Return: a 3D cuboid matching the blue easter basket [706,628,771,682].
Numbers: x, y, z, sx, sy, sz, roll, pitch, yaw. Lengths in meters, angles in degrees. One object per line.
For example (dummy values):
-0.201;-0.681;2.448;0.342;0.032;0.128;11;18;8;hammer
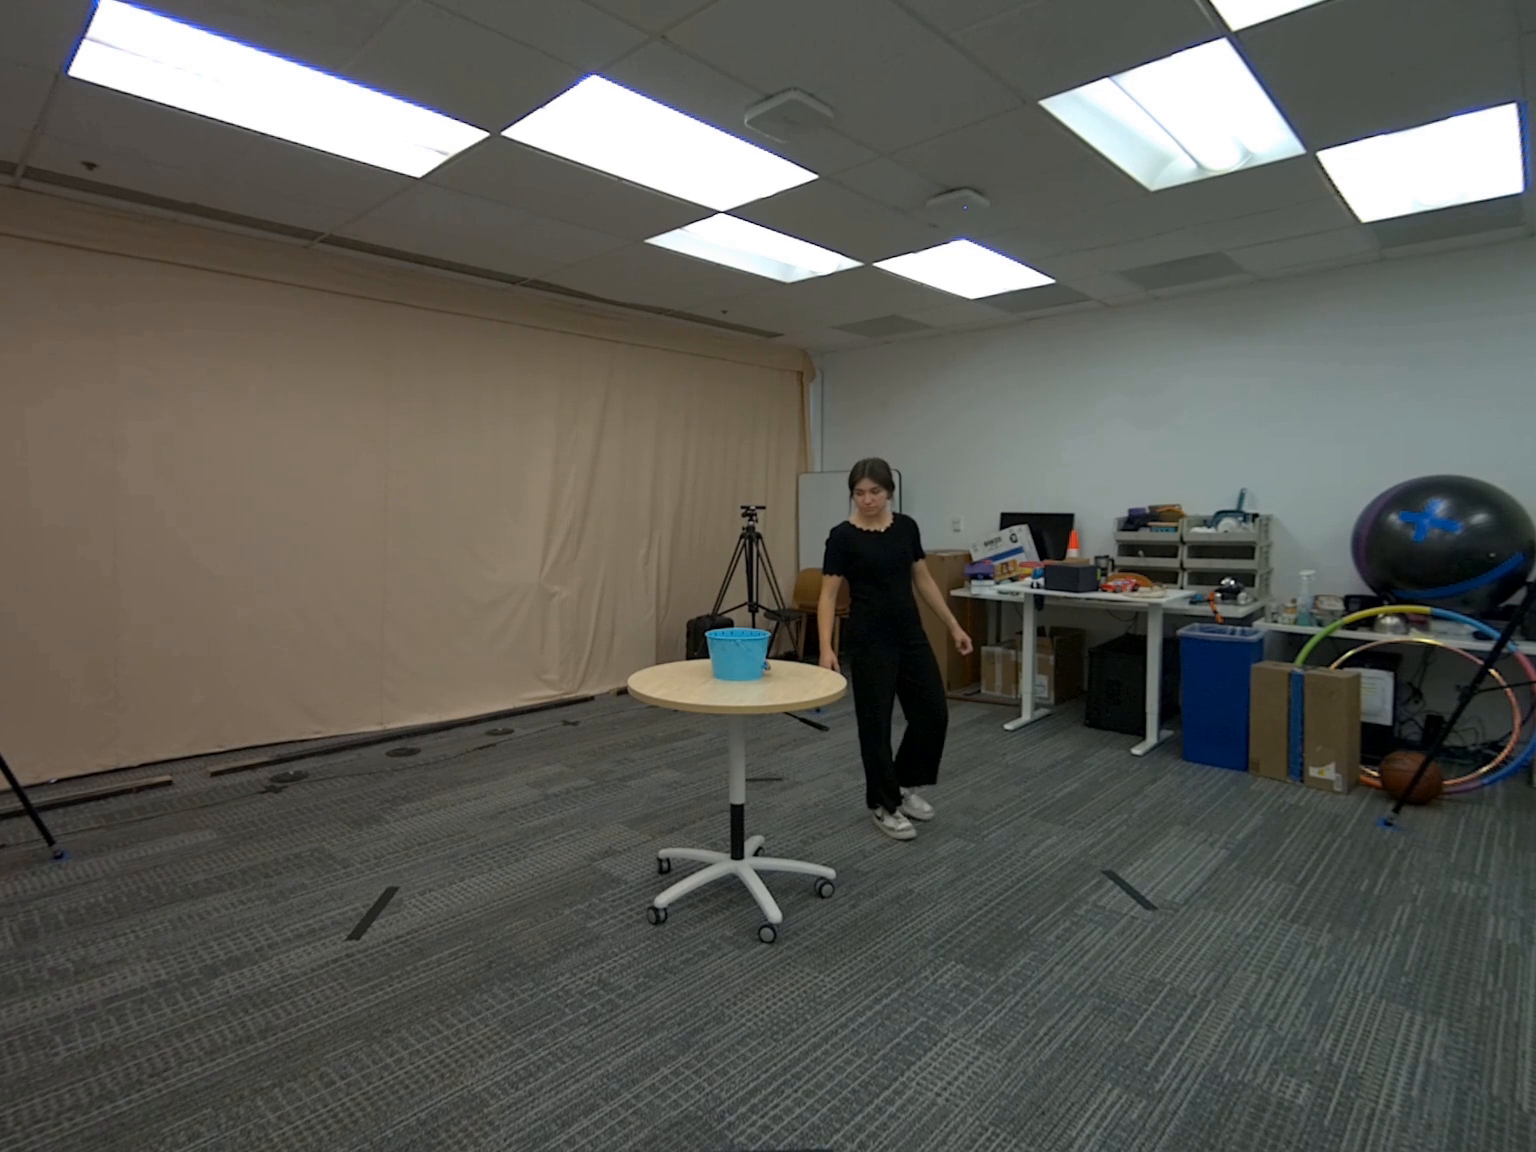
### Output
-0.104;0.285;3.013;0.243;0.155;0.244;0;5;-2;blue easter basket
